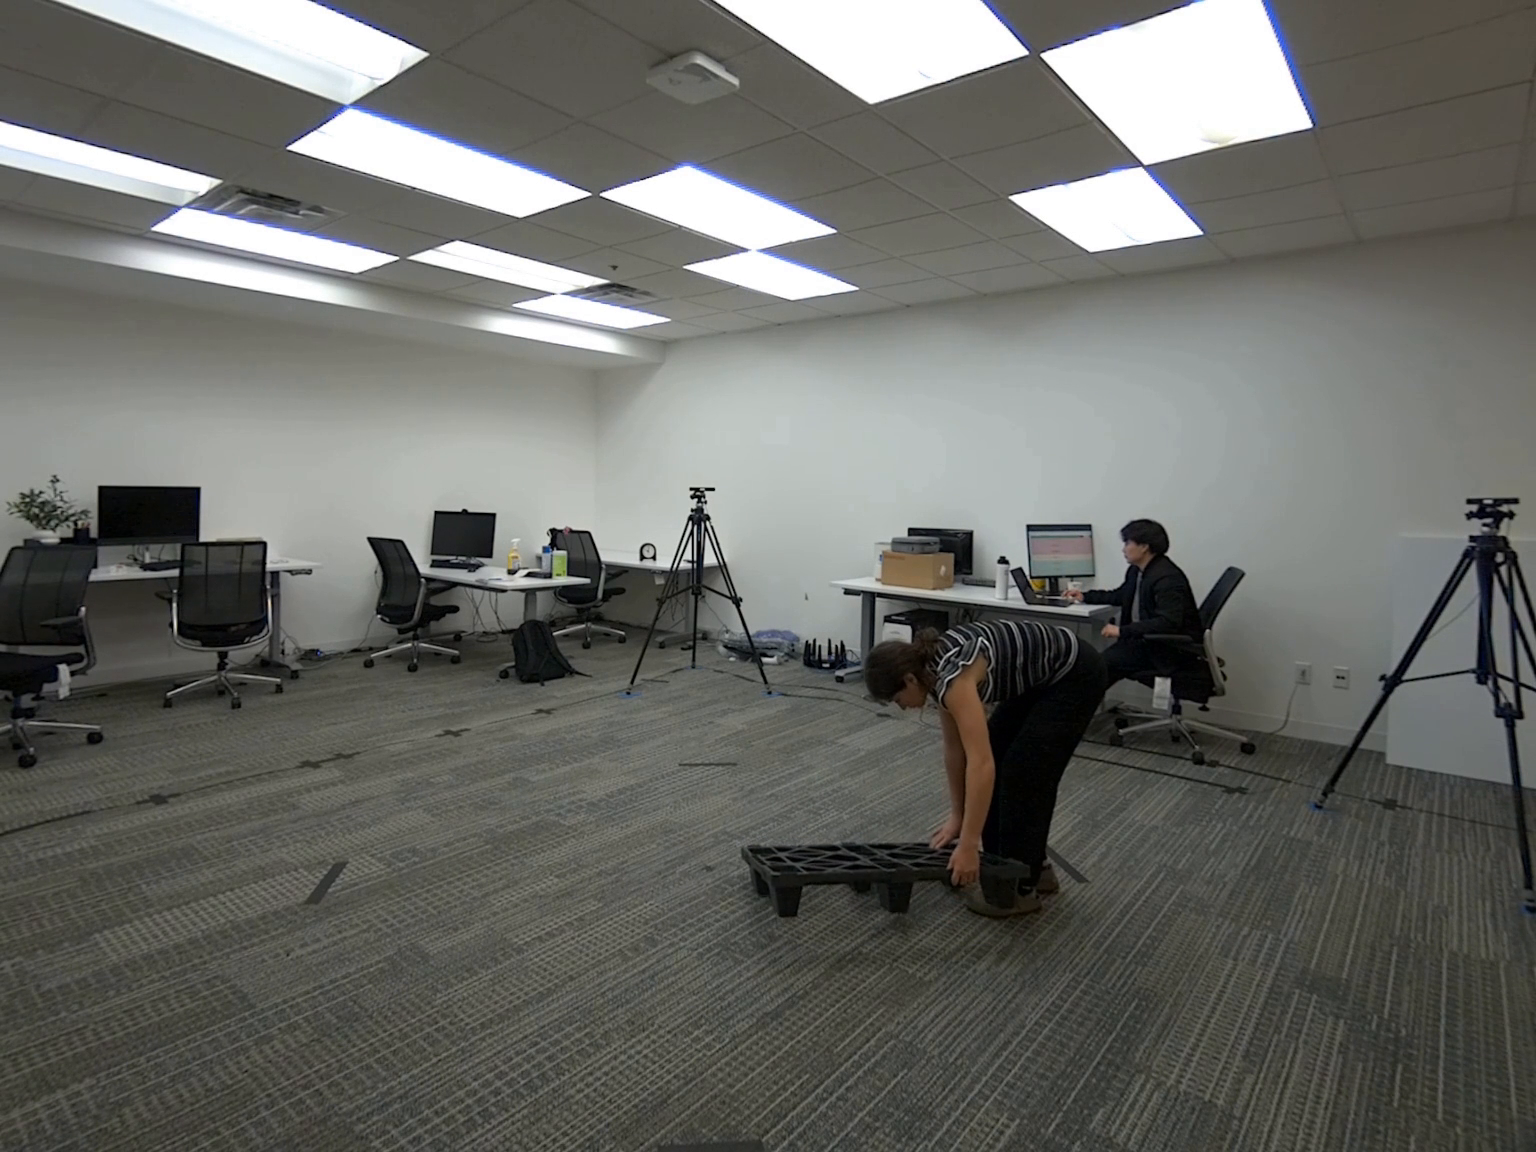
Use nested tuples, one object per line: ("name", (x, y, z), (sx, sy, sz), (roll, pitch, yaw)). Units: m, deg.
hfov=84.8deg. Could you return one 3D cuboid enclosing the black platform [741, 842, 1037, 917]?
("black platform", (0.344, 0.981, 2.794), (0.798, 0.145, 0.604), (1, -9, -9))
